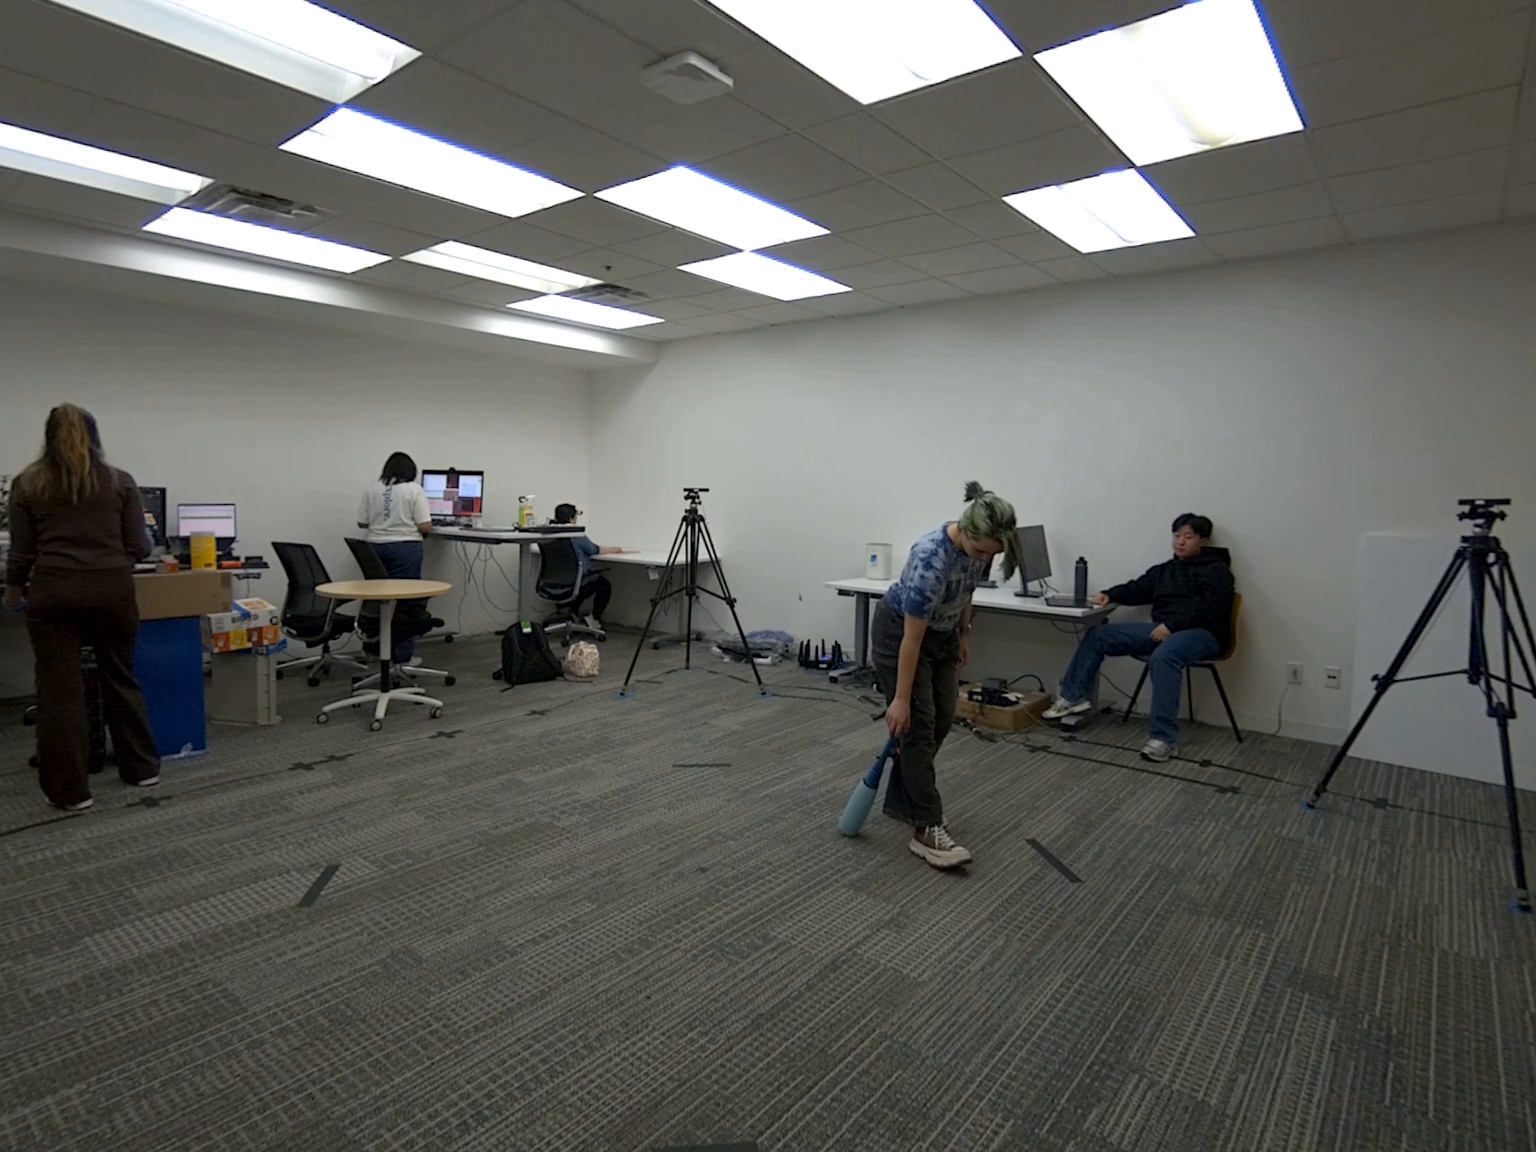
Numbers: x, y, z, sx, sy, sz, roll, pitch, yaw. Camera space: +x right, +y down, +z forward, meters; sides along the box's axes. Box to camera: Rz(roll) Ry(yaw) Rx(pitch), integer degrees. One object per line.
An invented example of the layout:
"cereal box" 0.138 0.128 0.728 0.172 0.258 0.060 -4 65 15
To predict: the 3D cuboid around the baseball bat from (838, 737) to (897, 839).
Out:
"baseball bat" 0.405 0.807 3.372 0.088 0.537 0.091 17 22 -9
